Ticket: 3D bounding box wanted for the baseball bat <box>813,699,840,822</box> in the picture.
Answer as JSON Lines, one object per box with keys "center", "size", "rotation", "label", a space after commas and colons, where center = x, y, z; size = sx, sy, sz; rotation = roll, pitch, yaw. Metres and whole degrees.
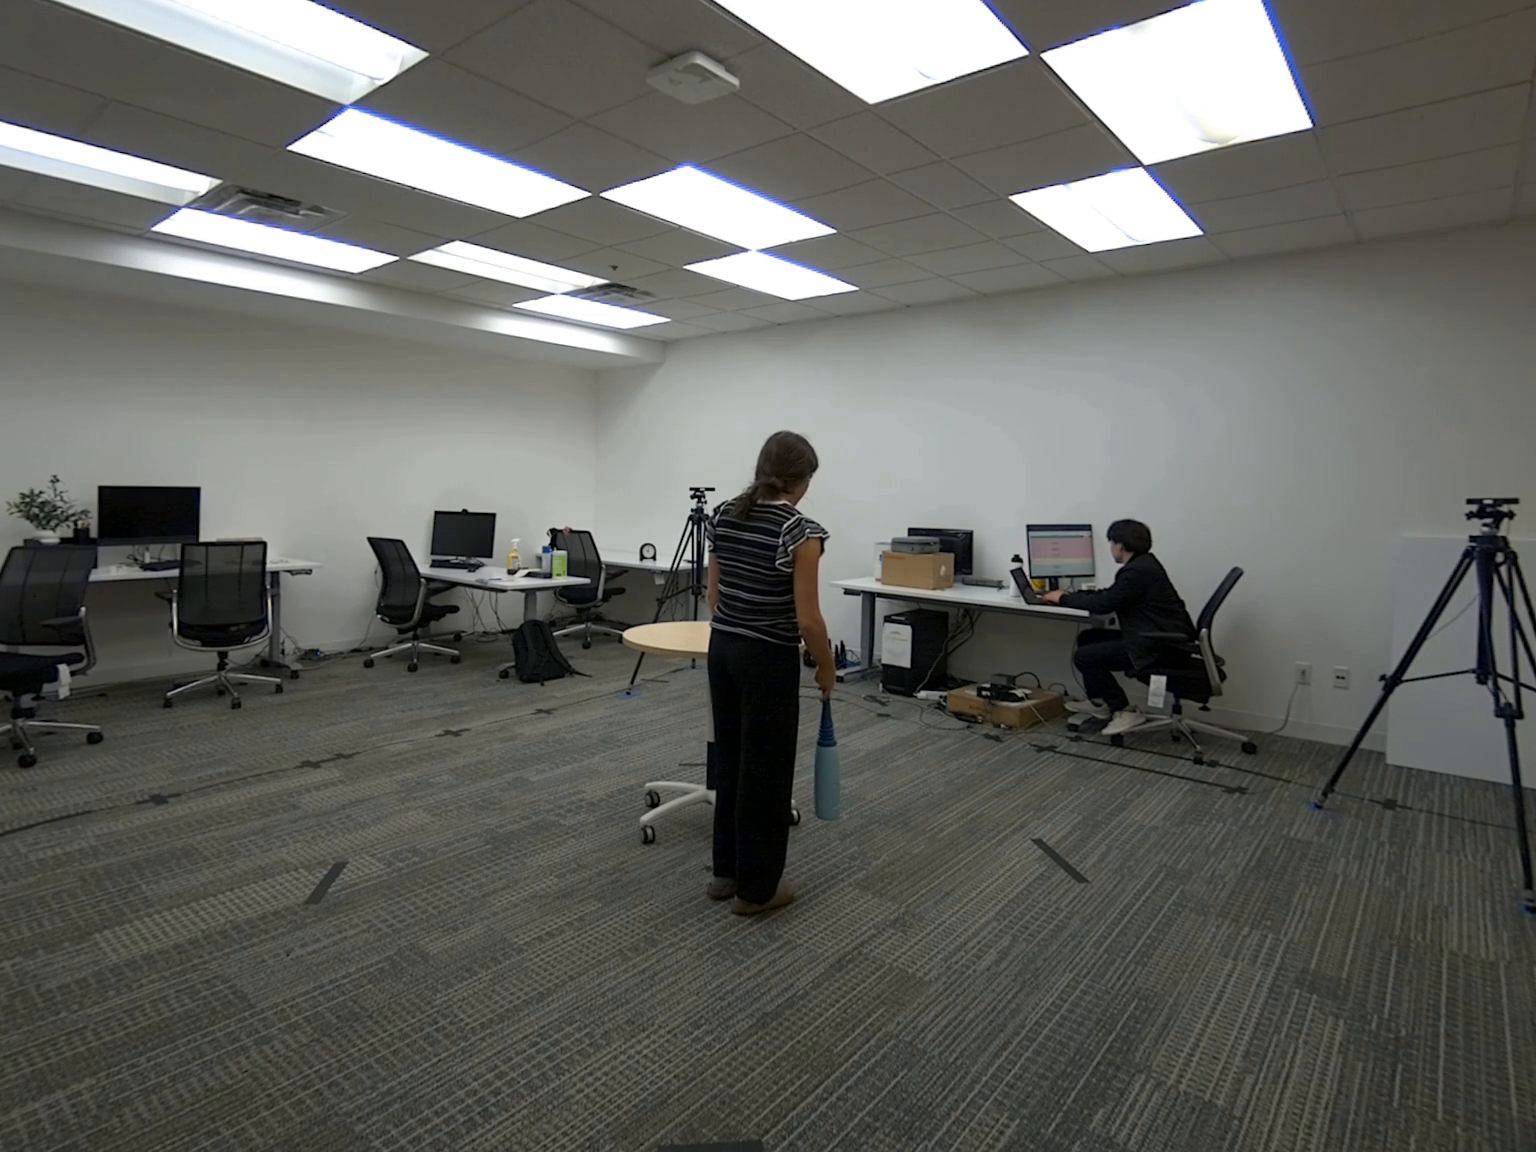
{"center": [0.205, 0.550, 2.881], "size": [0.089, 0.543, 0.089], "rotation": [0, 0, -2], "label": "baseball bat"}
